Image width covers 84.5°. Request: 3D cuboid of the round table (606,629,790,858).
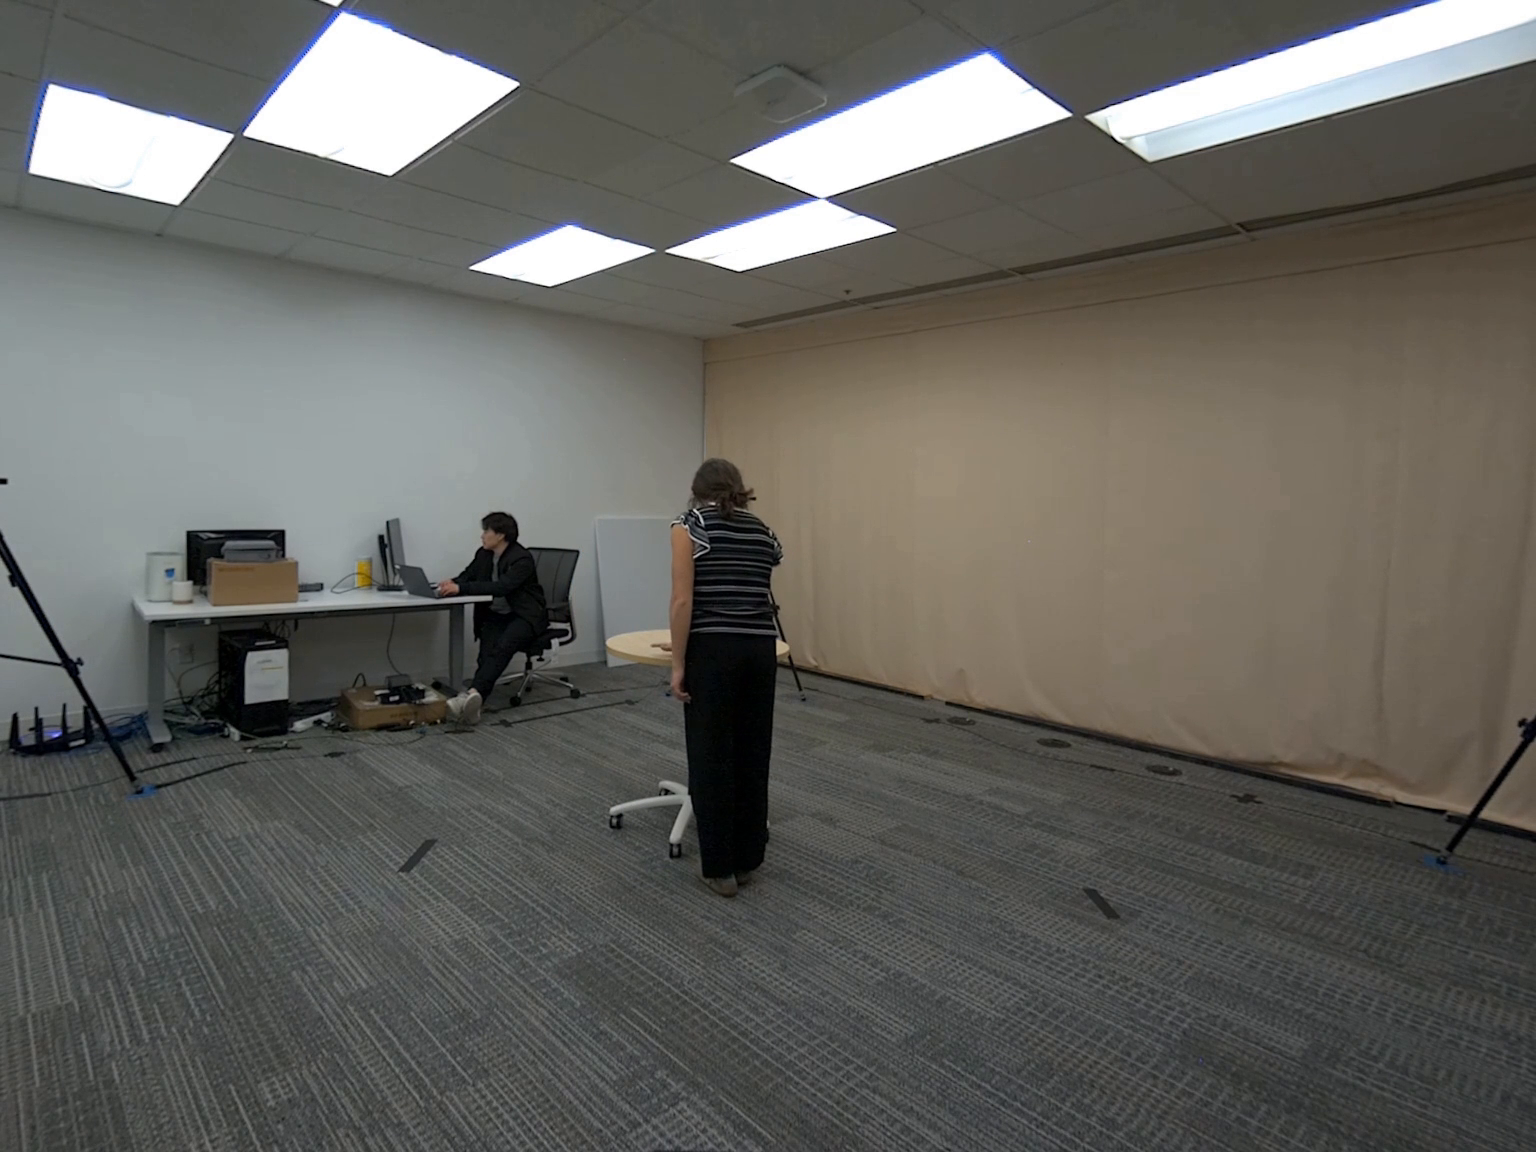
[{"bbox_3d":[-0.318,0.675,3.546,0.763,0.792,0.766,2,4,-2],"label":"round table"}]
